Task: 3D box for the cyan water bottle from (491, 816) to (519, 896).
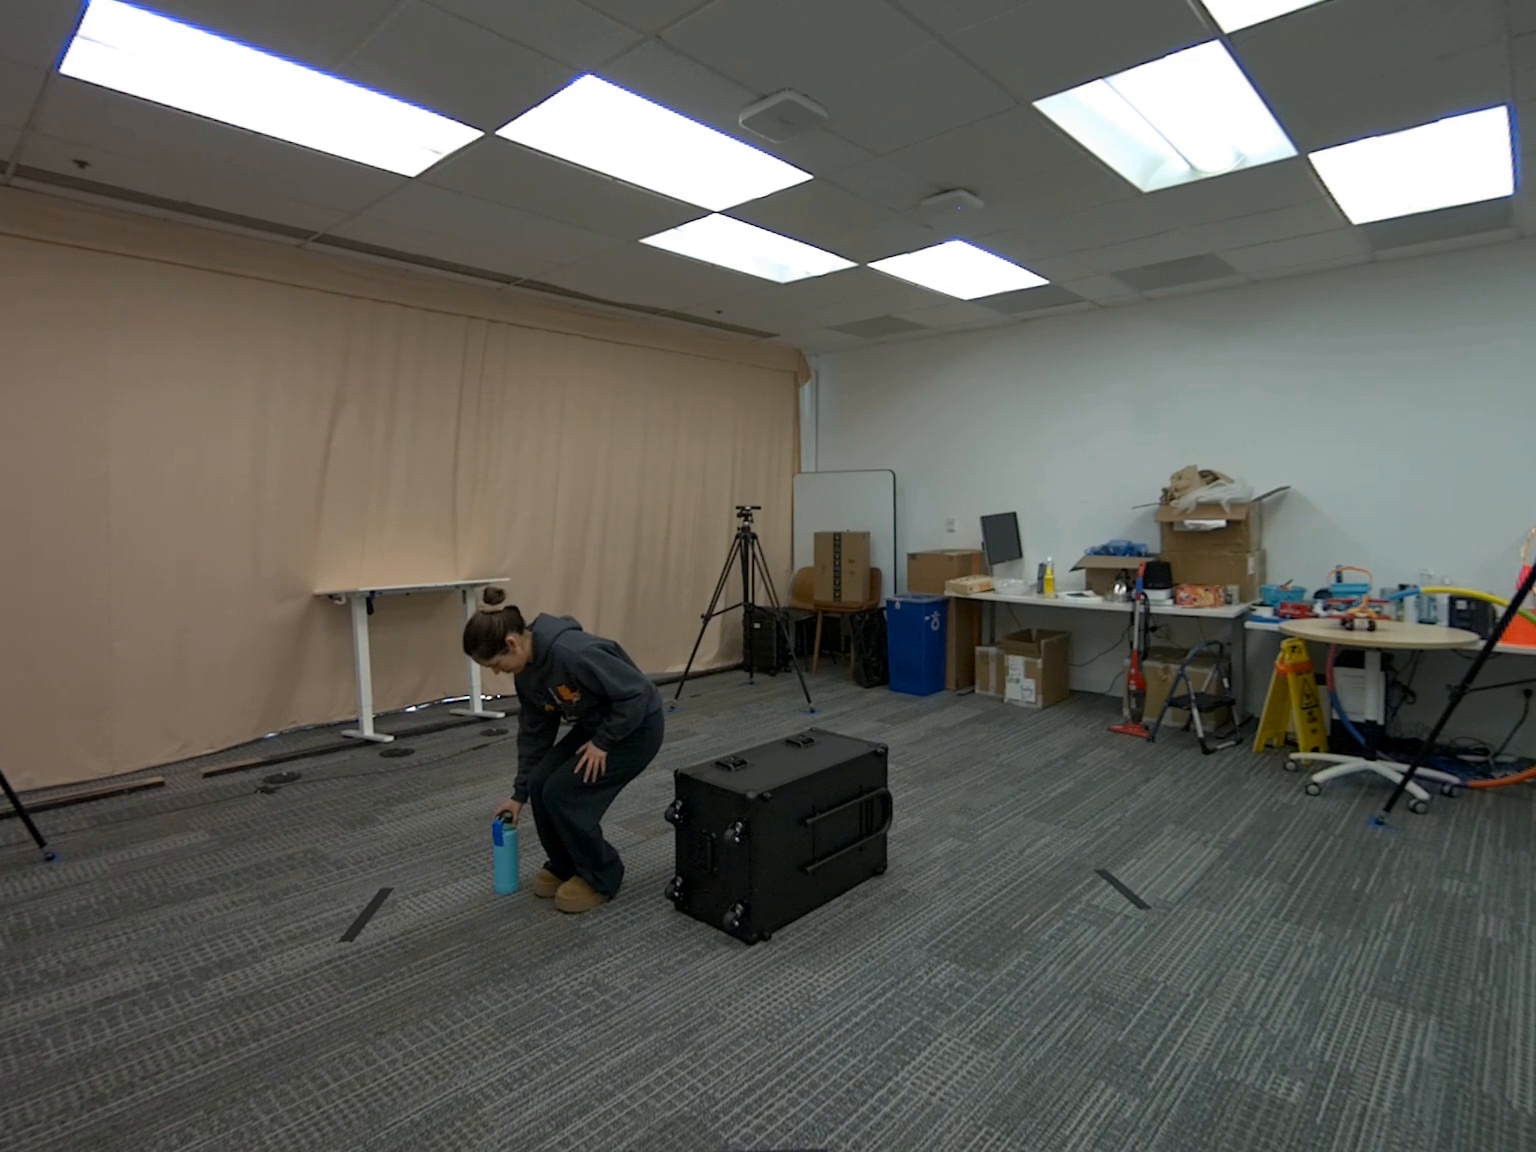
[{"bbox_3d":[-0.941,1.014,3.079,0.092,0.283,0.092,0,1,-2],"label":"cyan water bottle"}]
